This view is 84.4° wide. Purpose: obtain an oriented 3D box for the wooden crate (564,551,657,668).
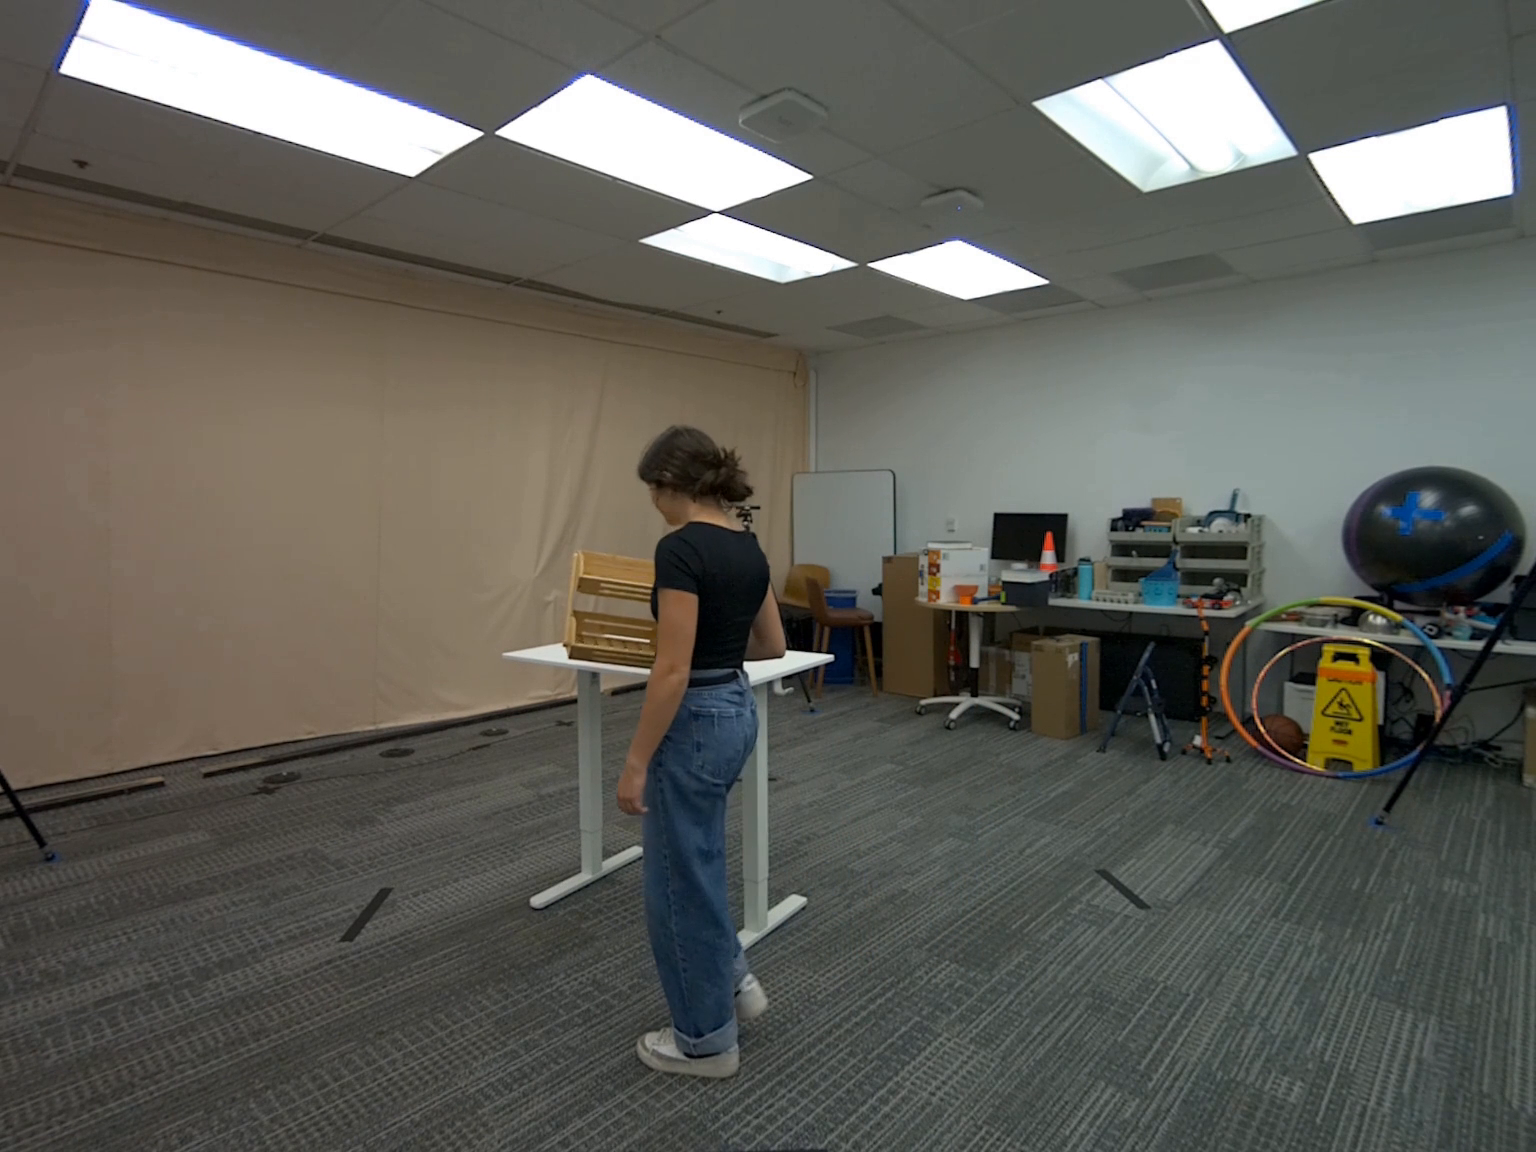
[{"bbox_3d":[-0.406,0.092,2.377,0.321,0.273,0.306,10,5,-11],"label":"wooden crate"}]
